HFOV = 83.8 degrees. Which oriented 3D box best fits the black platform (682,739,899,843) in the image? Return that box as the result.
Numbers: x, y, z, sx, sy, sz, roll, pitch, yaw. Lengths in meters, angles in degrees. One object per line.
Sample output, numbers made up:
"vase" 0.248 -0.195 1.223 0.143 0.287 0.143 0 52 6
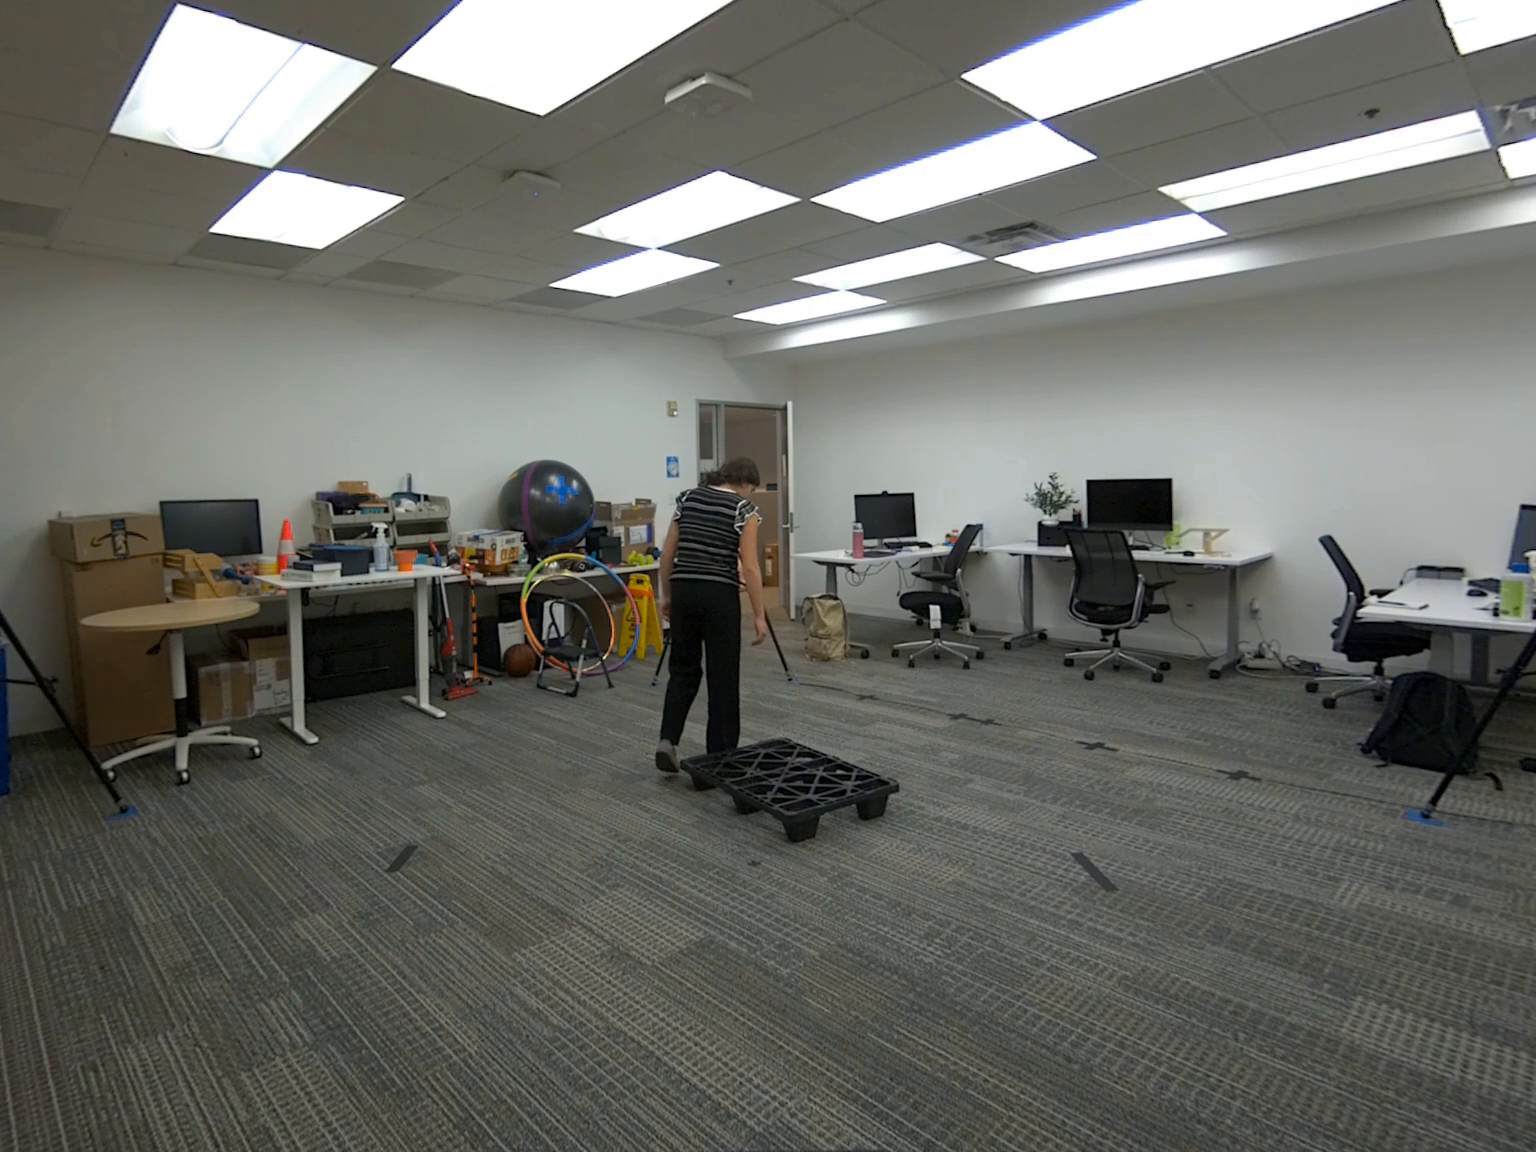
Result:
"black platform" 0.078 0.909 3.703 0.590 0.143 0.830 -4 7 -35
